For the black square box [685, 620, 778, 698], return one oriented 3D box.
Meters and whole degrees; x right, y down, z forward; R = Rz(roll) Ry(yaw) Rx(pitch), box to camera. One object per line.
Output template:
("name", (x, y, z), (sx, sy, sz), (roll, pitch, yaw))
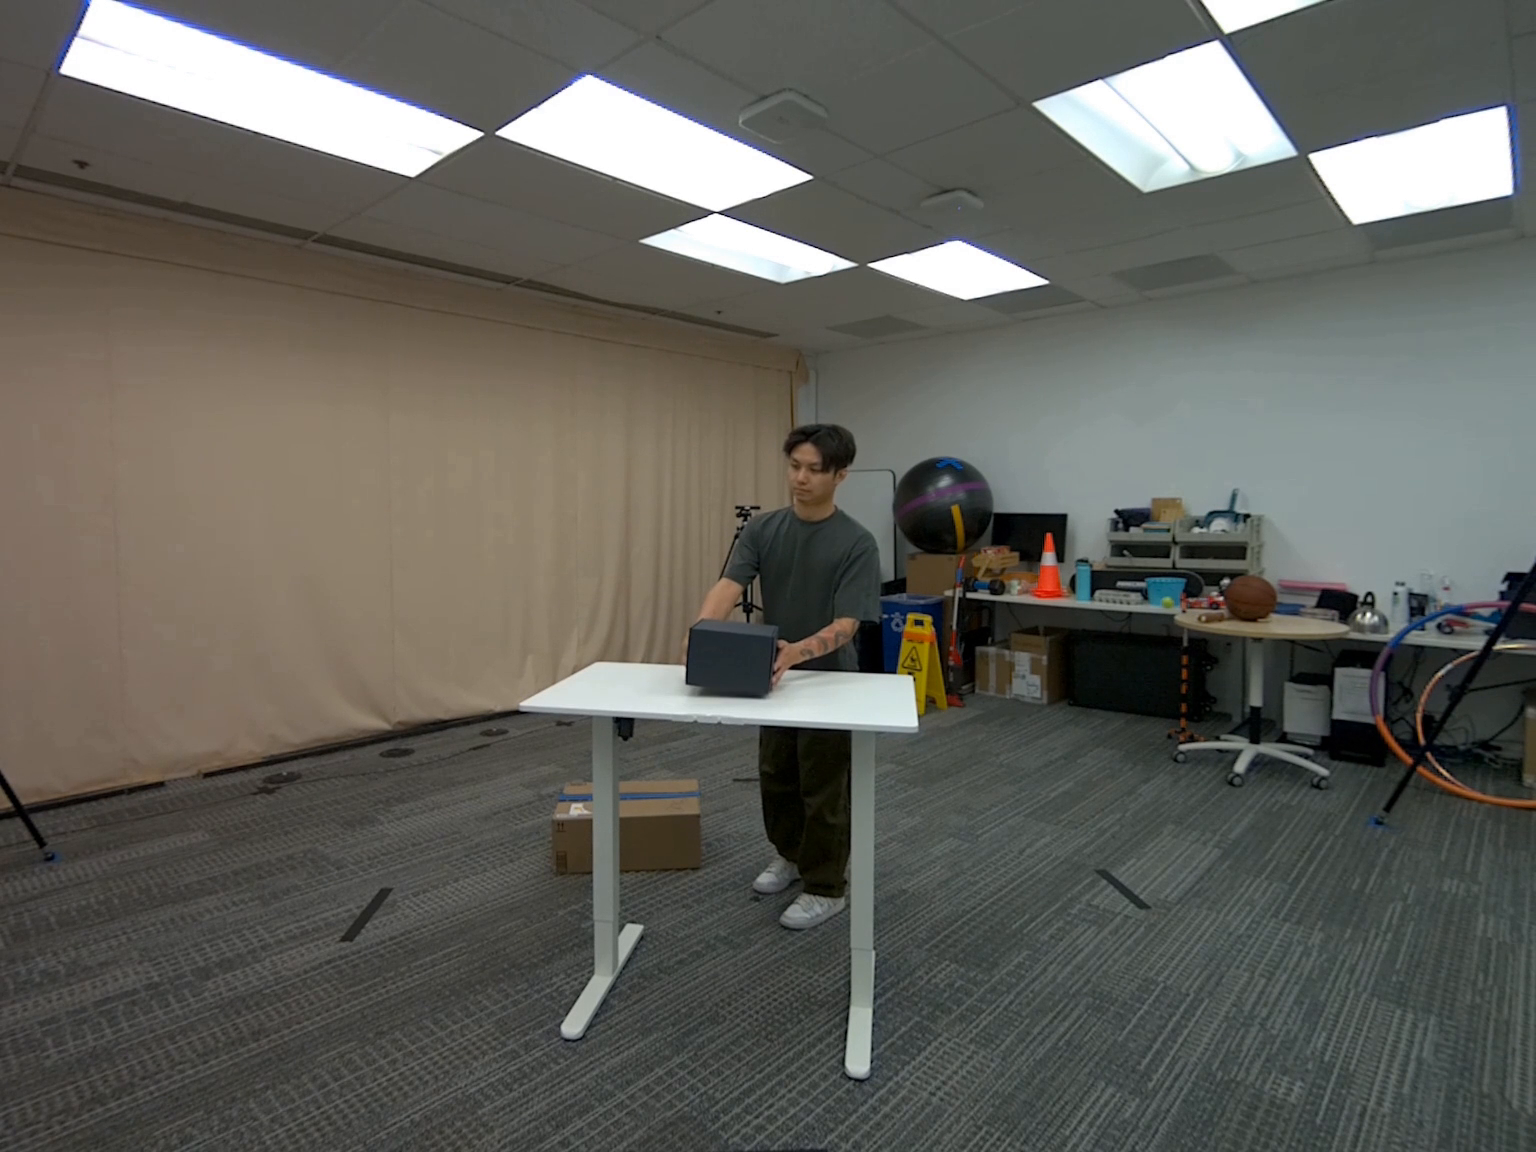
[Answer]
("black square box", (-0.099, 0.214, 2.330), (0.230, 0.155, 0.215), (3, 3, 8))
